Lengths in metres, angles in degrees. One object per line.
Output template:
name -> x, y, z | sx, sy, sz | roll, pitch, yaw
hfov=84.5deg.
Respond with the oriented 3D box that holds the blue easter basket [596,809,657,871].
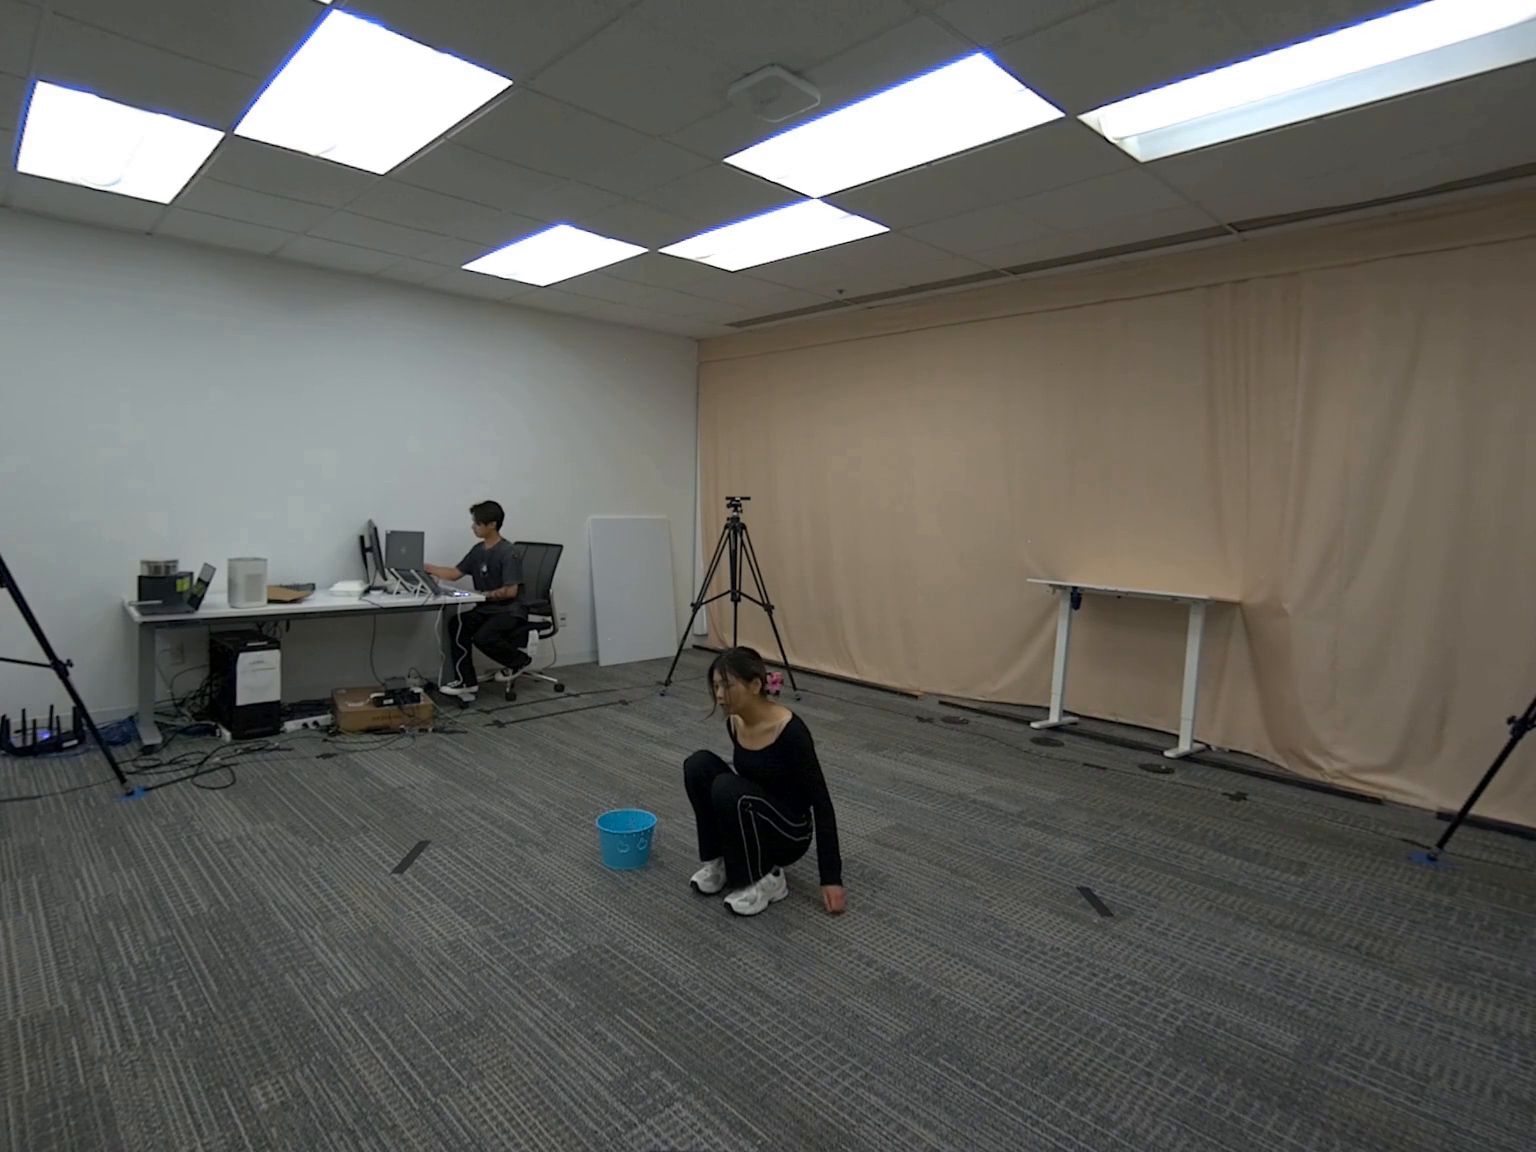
blue easter basket -> -0.541, 0.999, 3.228 | 0.243, 0.155, 0.244 | 1, 4, -1
